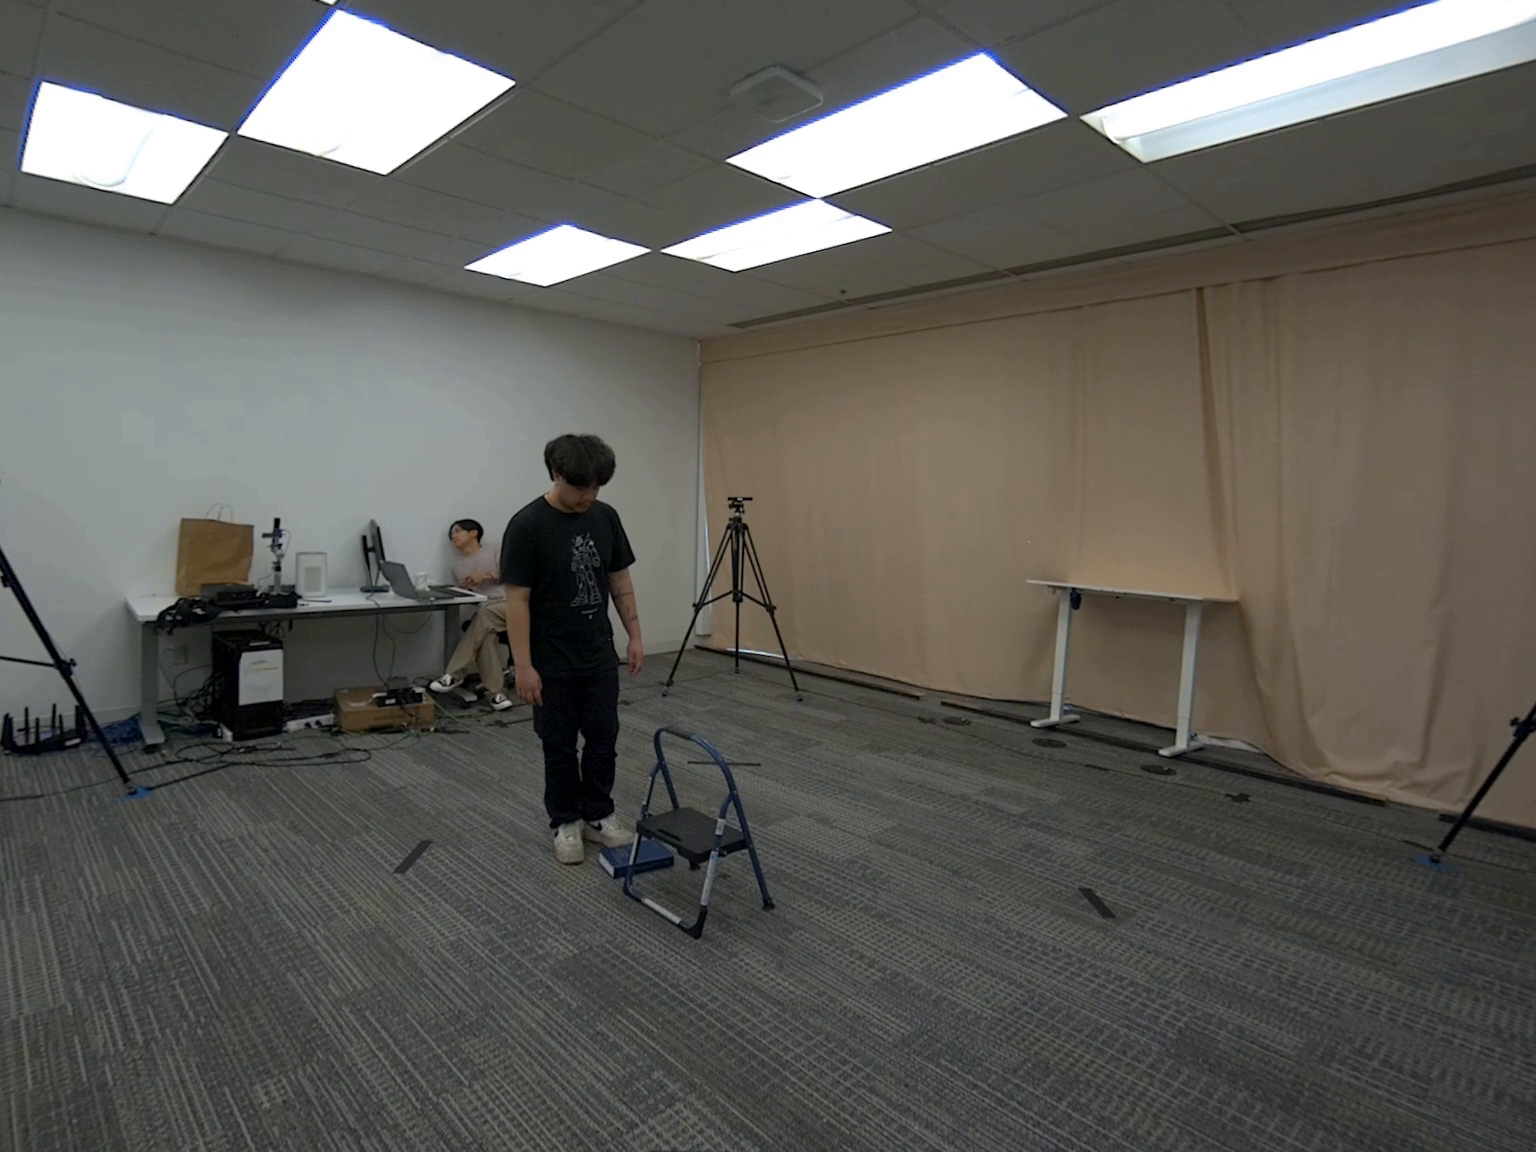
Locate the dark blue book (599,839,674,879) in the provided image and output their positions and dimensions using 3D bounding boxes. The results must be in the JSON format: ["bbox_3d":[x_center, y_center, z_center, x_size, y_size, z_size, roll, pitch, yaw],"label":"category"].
[{"bbox_3d":[-0.508,1.069,3.182,0.240,0.045,0.167,-2,7,-31],"label":"dark blue book"}]
